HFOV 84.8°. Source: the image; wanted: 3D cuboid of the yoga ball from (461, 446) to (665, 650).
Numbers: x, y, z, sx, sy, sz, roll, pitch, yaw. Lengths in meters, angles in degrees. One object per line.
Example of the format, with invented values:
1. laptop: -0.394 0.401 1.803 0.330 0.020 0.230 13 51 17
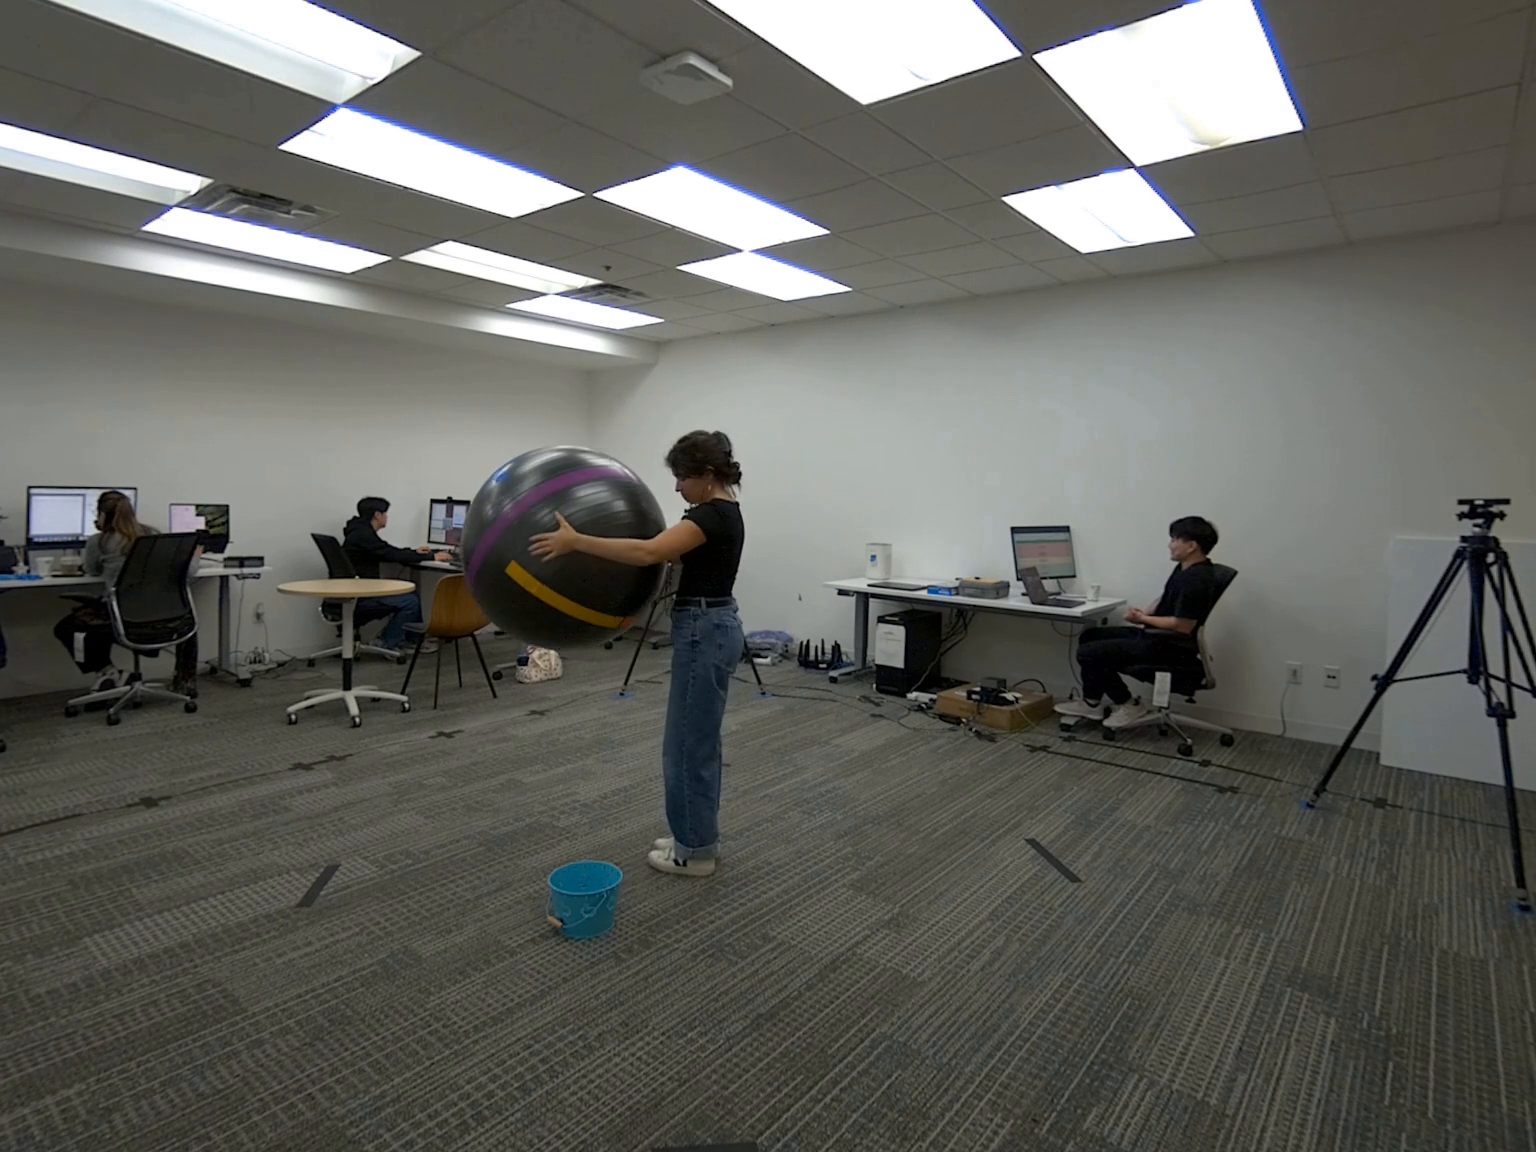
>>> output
1. yoga ball: -0.770 -0.103 3.164 0.757 0.755 0.762 1 4 -2
